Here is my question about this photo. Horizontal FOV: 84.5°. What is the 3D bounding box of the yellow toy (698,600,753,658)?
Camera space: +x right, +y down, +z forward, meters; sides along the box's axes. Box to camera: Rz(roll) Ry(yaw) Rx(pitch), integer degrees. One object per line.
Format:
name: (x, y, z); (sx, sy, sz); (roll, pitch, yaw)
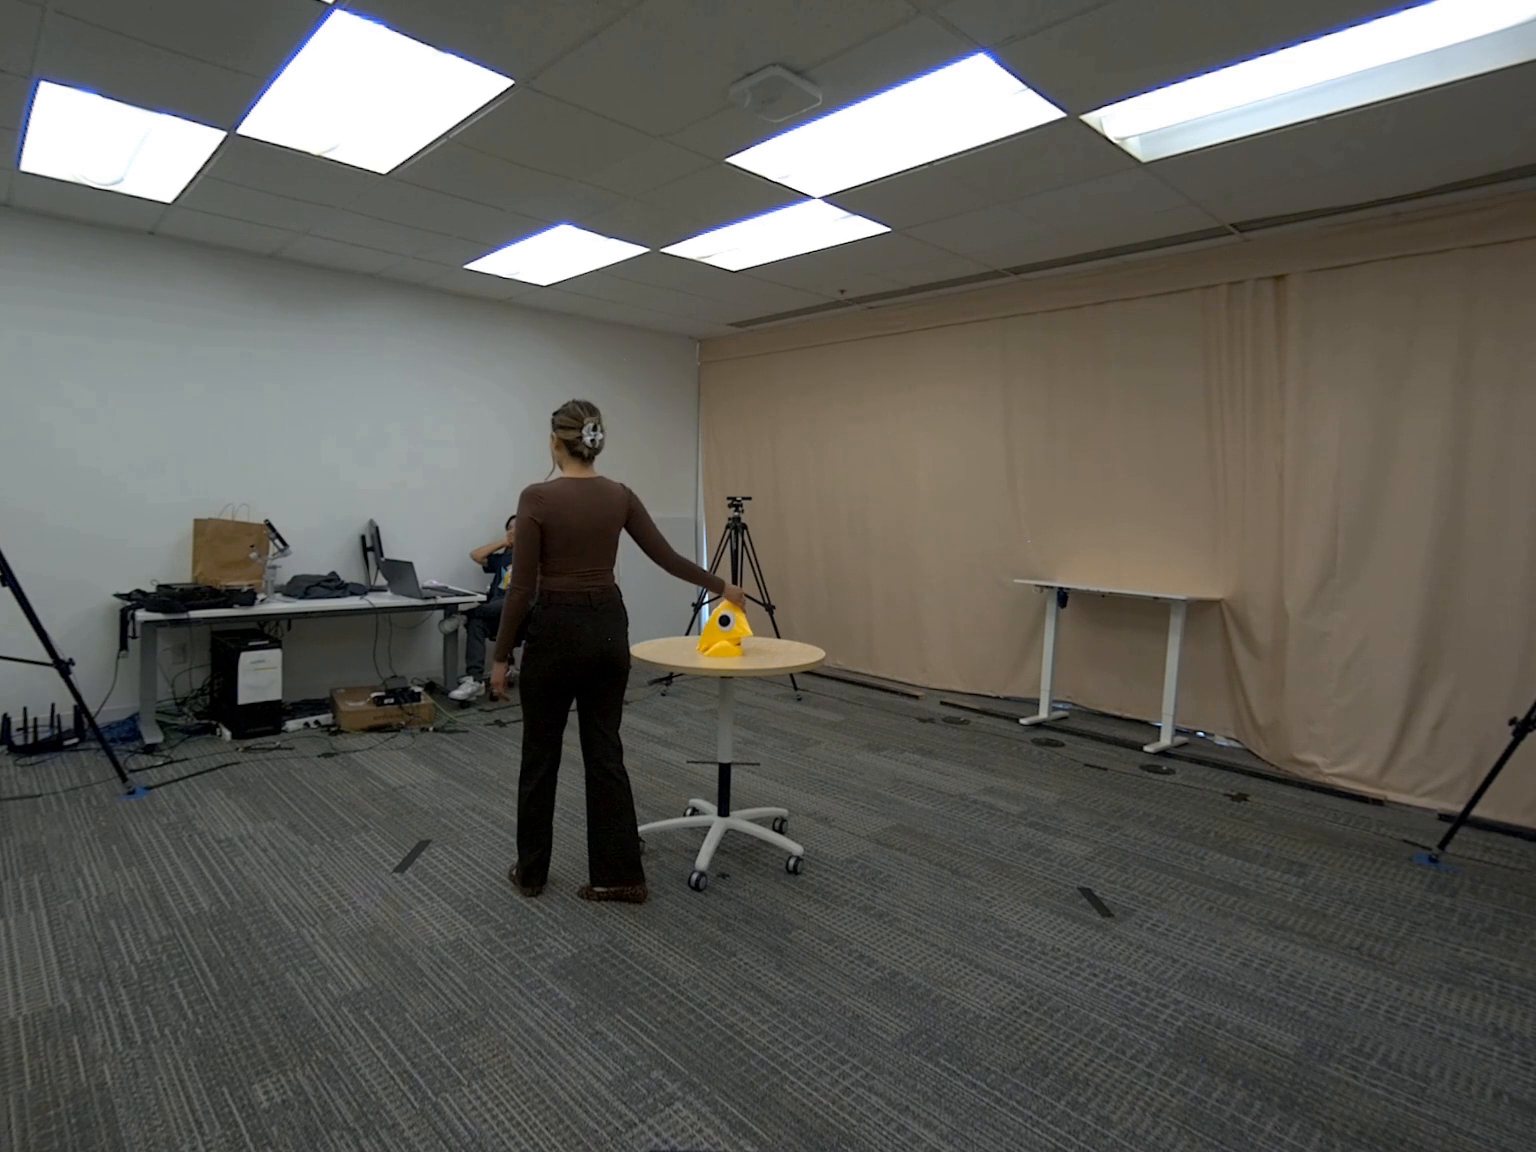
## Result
yellow toy: (-0.182, 0.183, 3.242); (0.190, 0.230, 0.208); (0, 4, -18)
